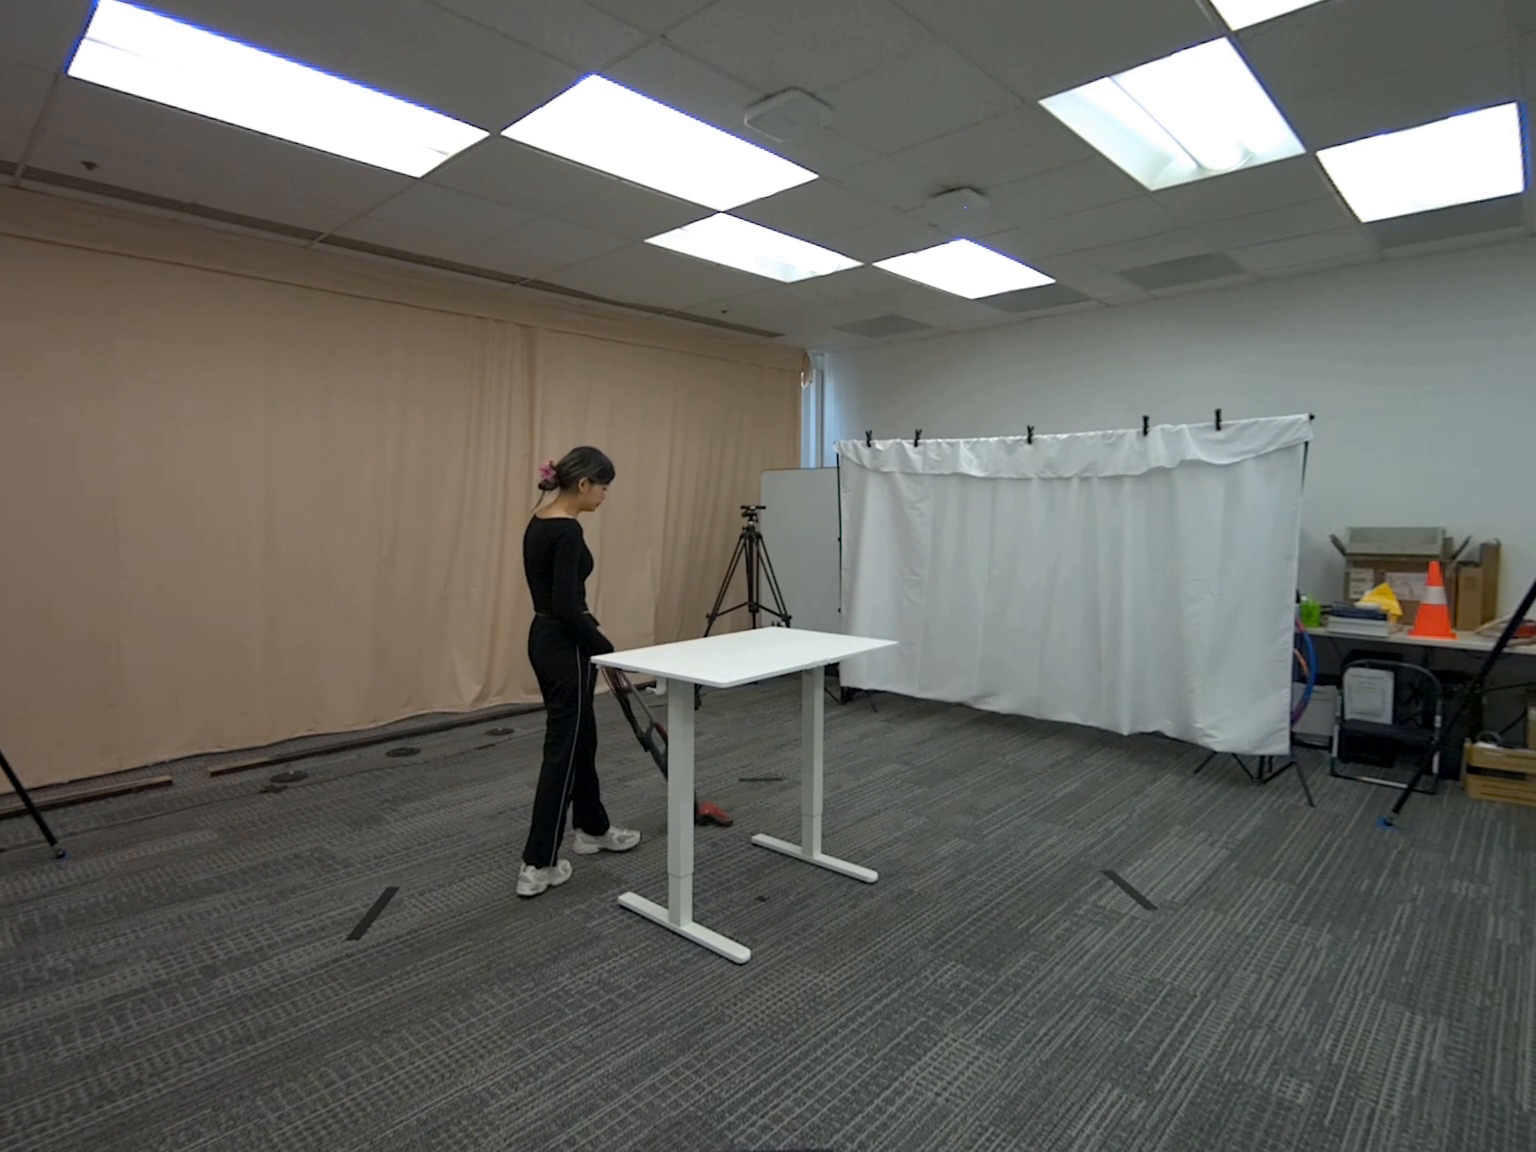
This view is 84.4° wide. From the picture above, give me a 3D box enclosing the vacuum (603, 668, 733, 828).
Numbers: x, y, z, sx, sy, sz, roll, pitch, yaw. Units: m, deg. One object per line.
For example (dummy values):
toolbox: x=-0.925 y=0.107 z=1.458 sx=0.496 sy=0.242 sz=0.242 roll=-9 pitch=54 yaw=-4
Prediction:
vacuum: x=-0.510 y=0.666 z=3.594 sx=0.142 sy=1.029 sz=0.260 roll=-43 pitch=21 yaw=-30
